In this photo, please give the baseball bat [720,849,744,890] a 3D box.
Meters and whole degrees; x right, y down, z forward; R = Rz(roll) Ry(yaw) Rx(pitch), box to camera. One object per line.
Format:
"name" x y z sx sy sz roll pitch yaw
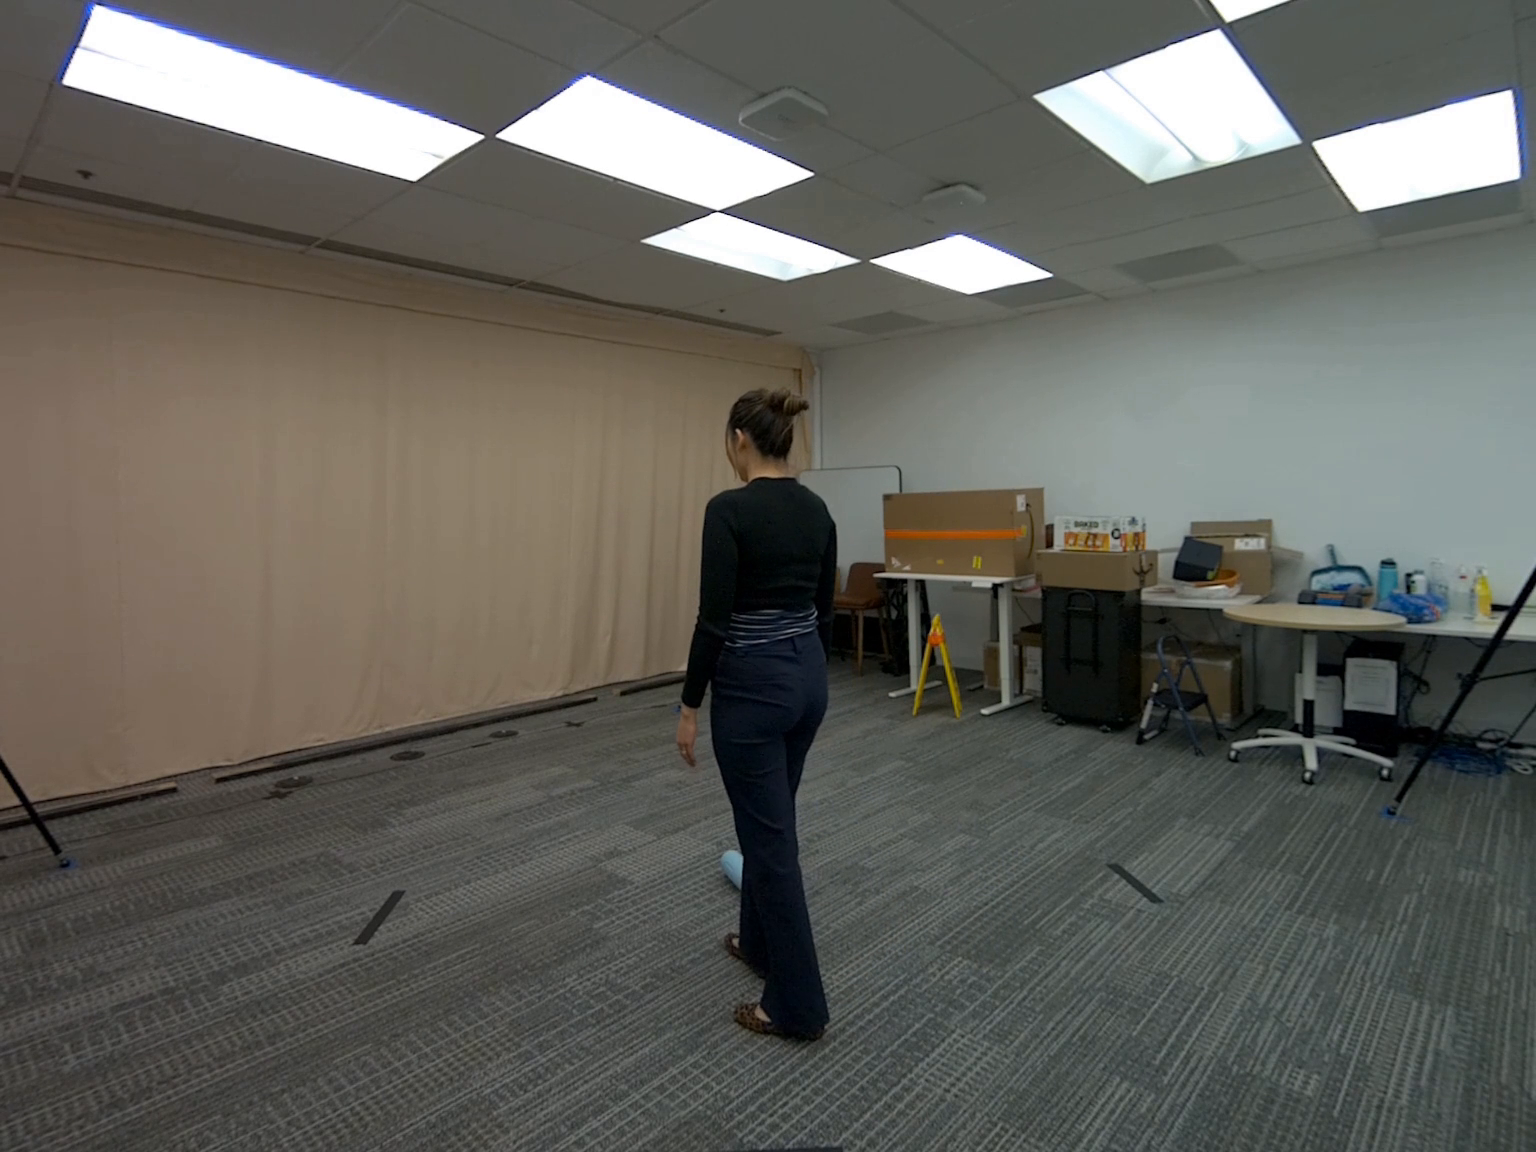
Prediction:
"baseball bat" -0.023 1.113 2.929 0.087 0.088 0.558 -3 9 -24
